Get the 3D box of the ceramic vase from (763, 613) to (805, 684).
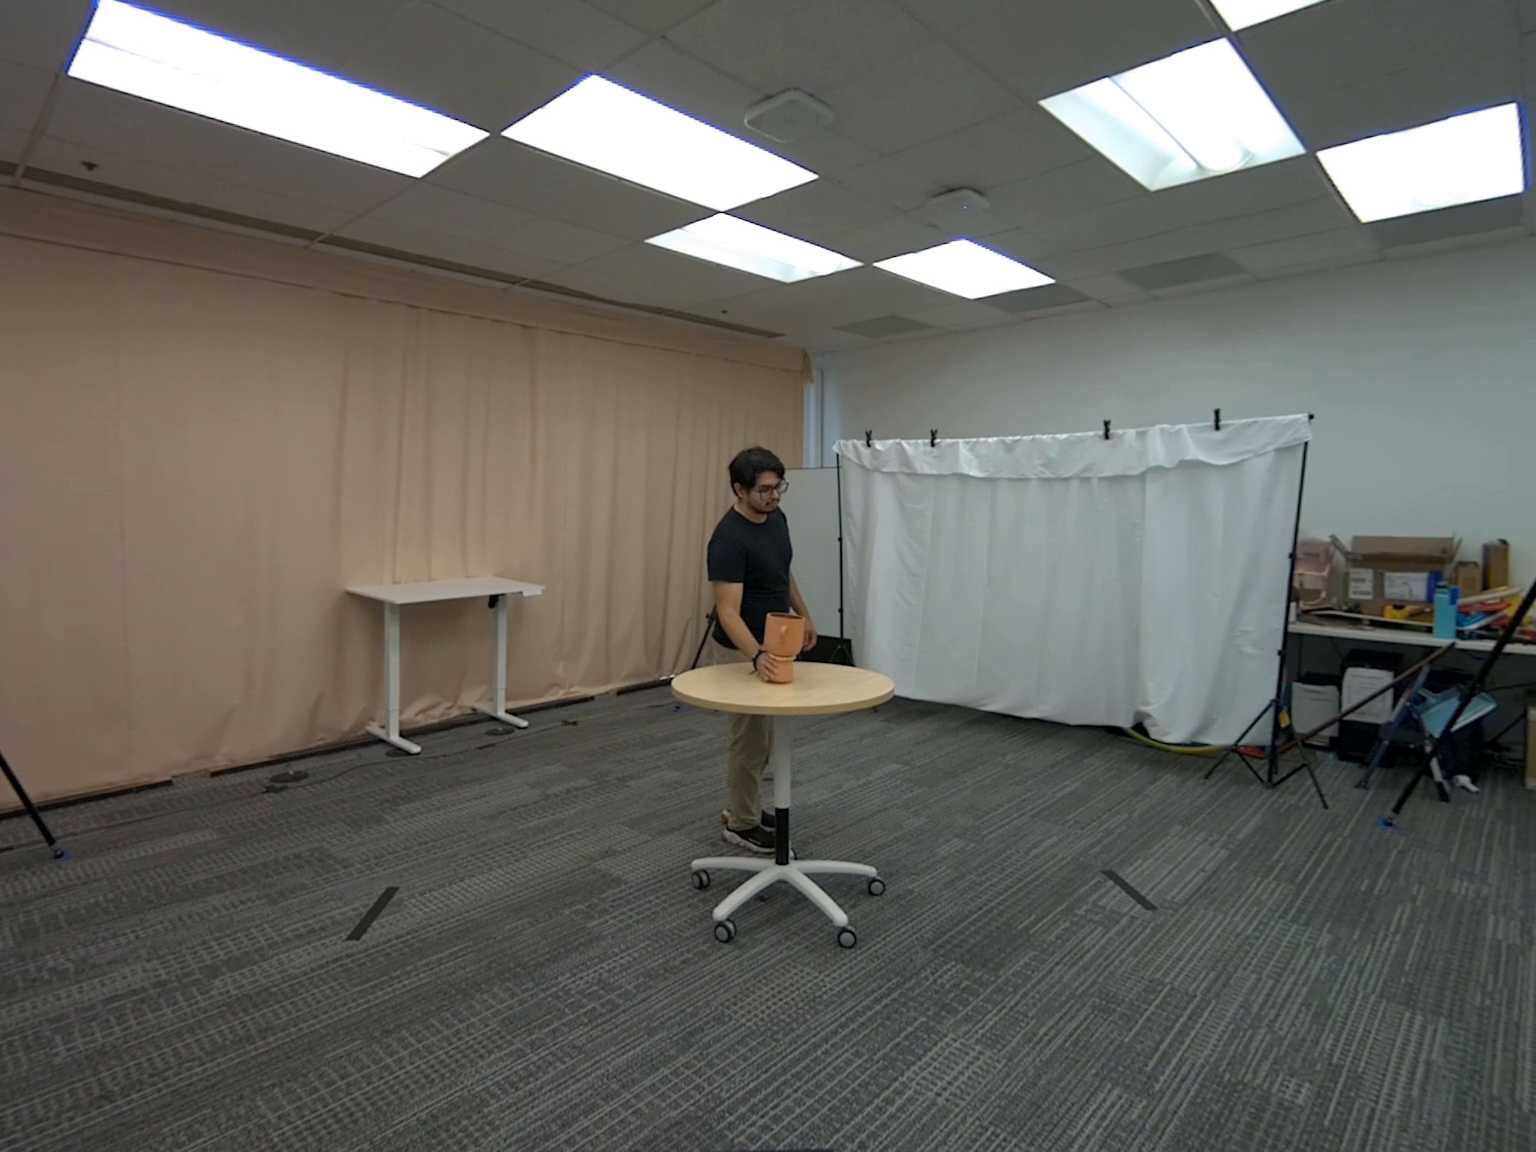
[{"bbox_3d":[0.060,0.241,2.906,0.154,0.219,0.139,2,6,-43],"label":"ceramic vase"}]
